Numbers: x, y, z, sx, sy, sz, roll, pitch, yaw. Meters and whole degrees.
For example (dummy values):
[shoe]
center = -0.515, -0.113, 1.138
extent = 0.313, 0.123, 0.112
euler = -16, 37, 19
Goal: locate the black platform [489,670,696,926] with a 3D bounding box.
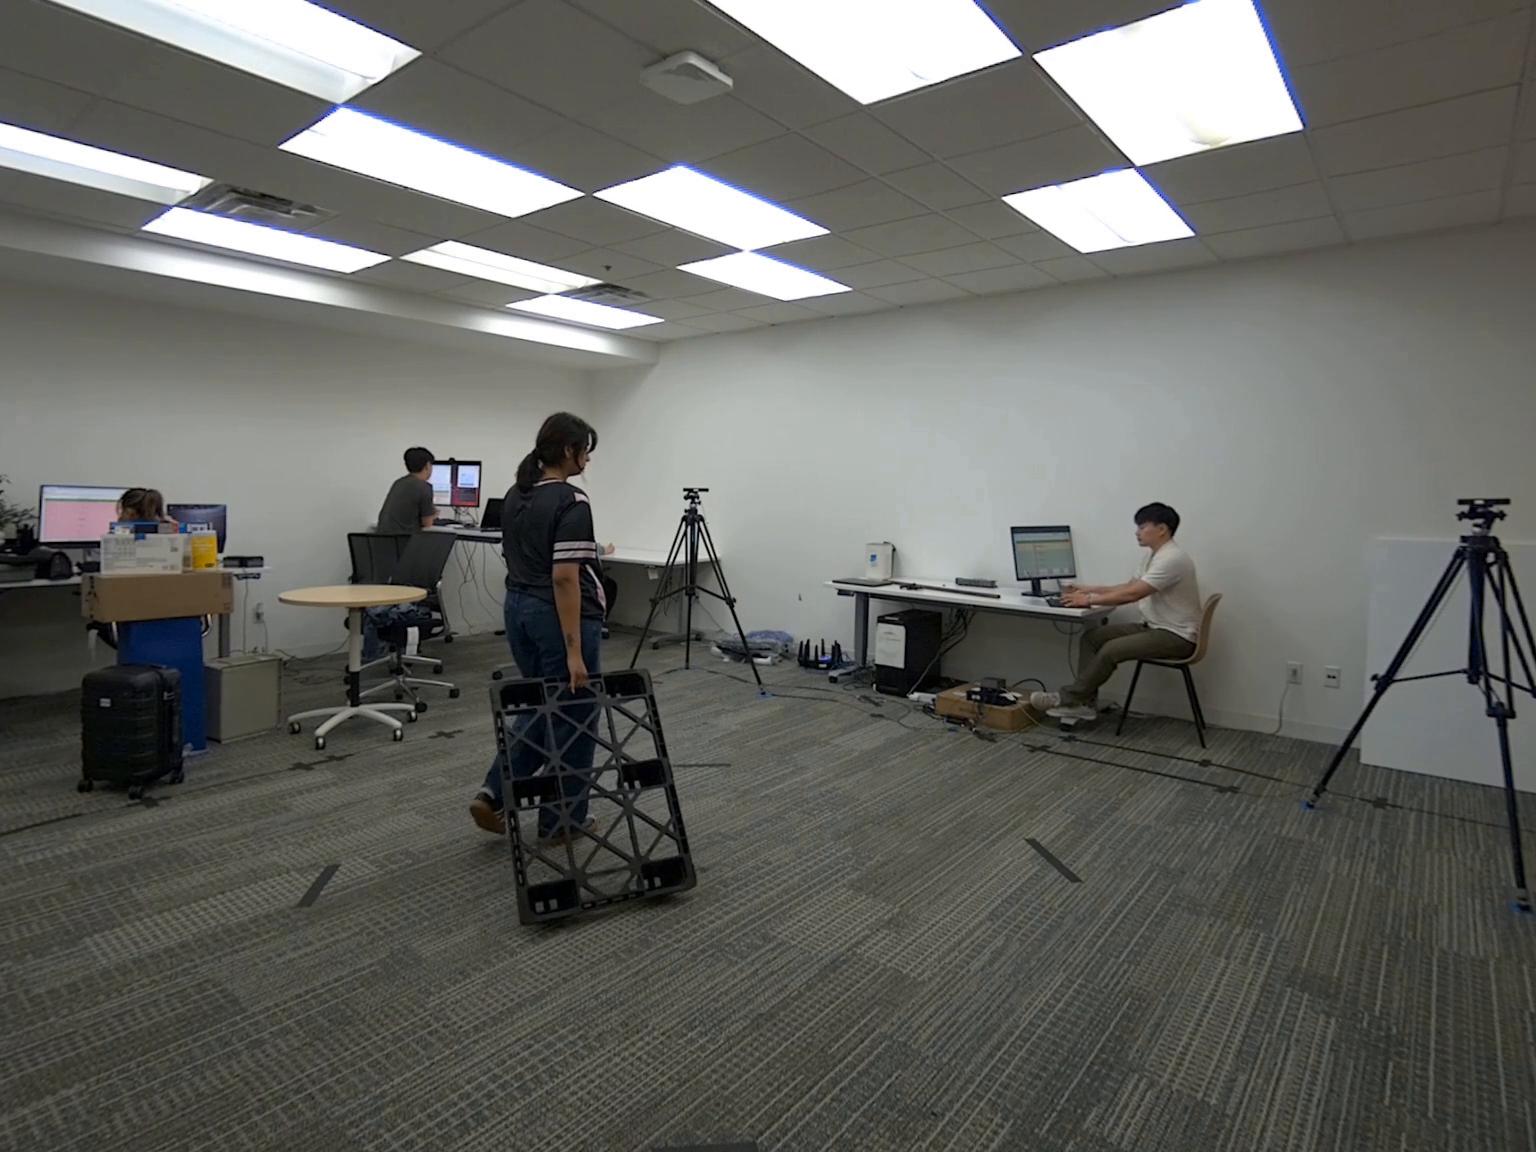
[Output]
[black platform]
center = -0.639, 0.738, 2.958
extent = 0.590, 0.830, 0.142
euler = -2, -30, -27
